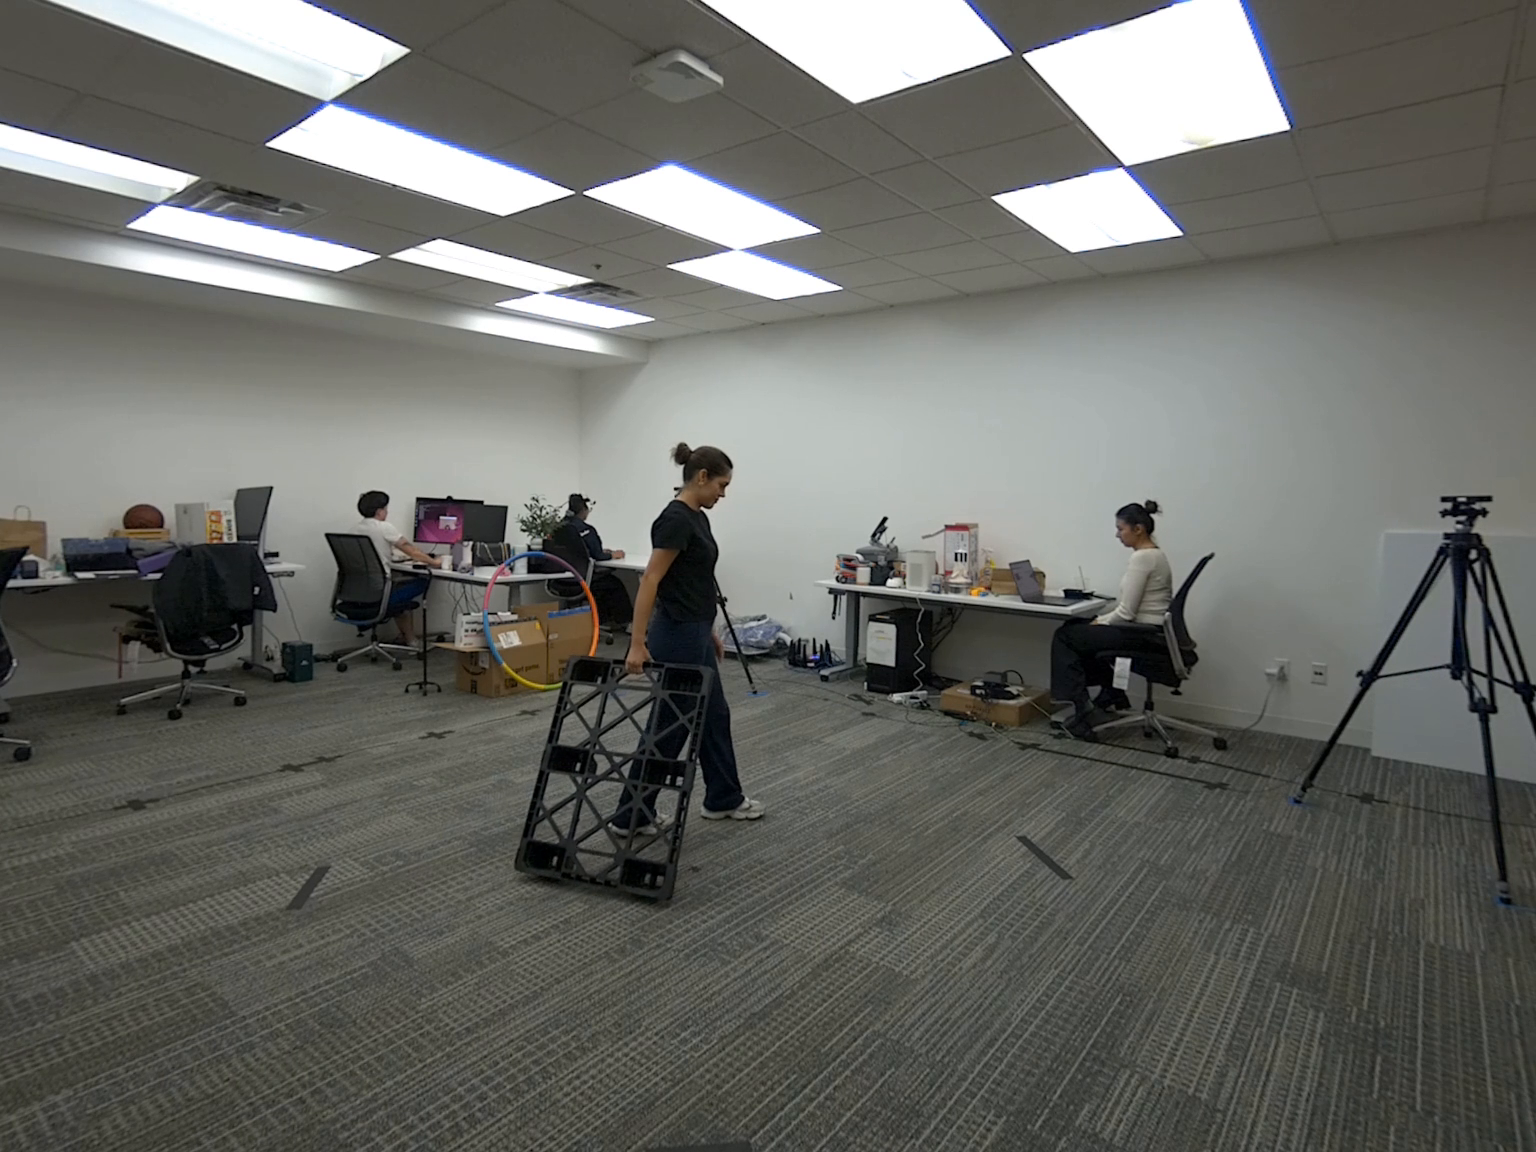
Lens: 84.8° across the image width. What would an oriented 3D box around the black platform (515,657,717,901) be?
[{"bbox_3d":[-0.519,0.705,3.127,0.618,0.819,0.138,1,-25,20],"label":"black platform"}]
